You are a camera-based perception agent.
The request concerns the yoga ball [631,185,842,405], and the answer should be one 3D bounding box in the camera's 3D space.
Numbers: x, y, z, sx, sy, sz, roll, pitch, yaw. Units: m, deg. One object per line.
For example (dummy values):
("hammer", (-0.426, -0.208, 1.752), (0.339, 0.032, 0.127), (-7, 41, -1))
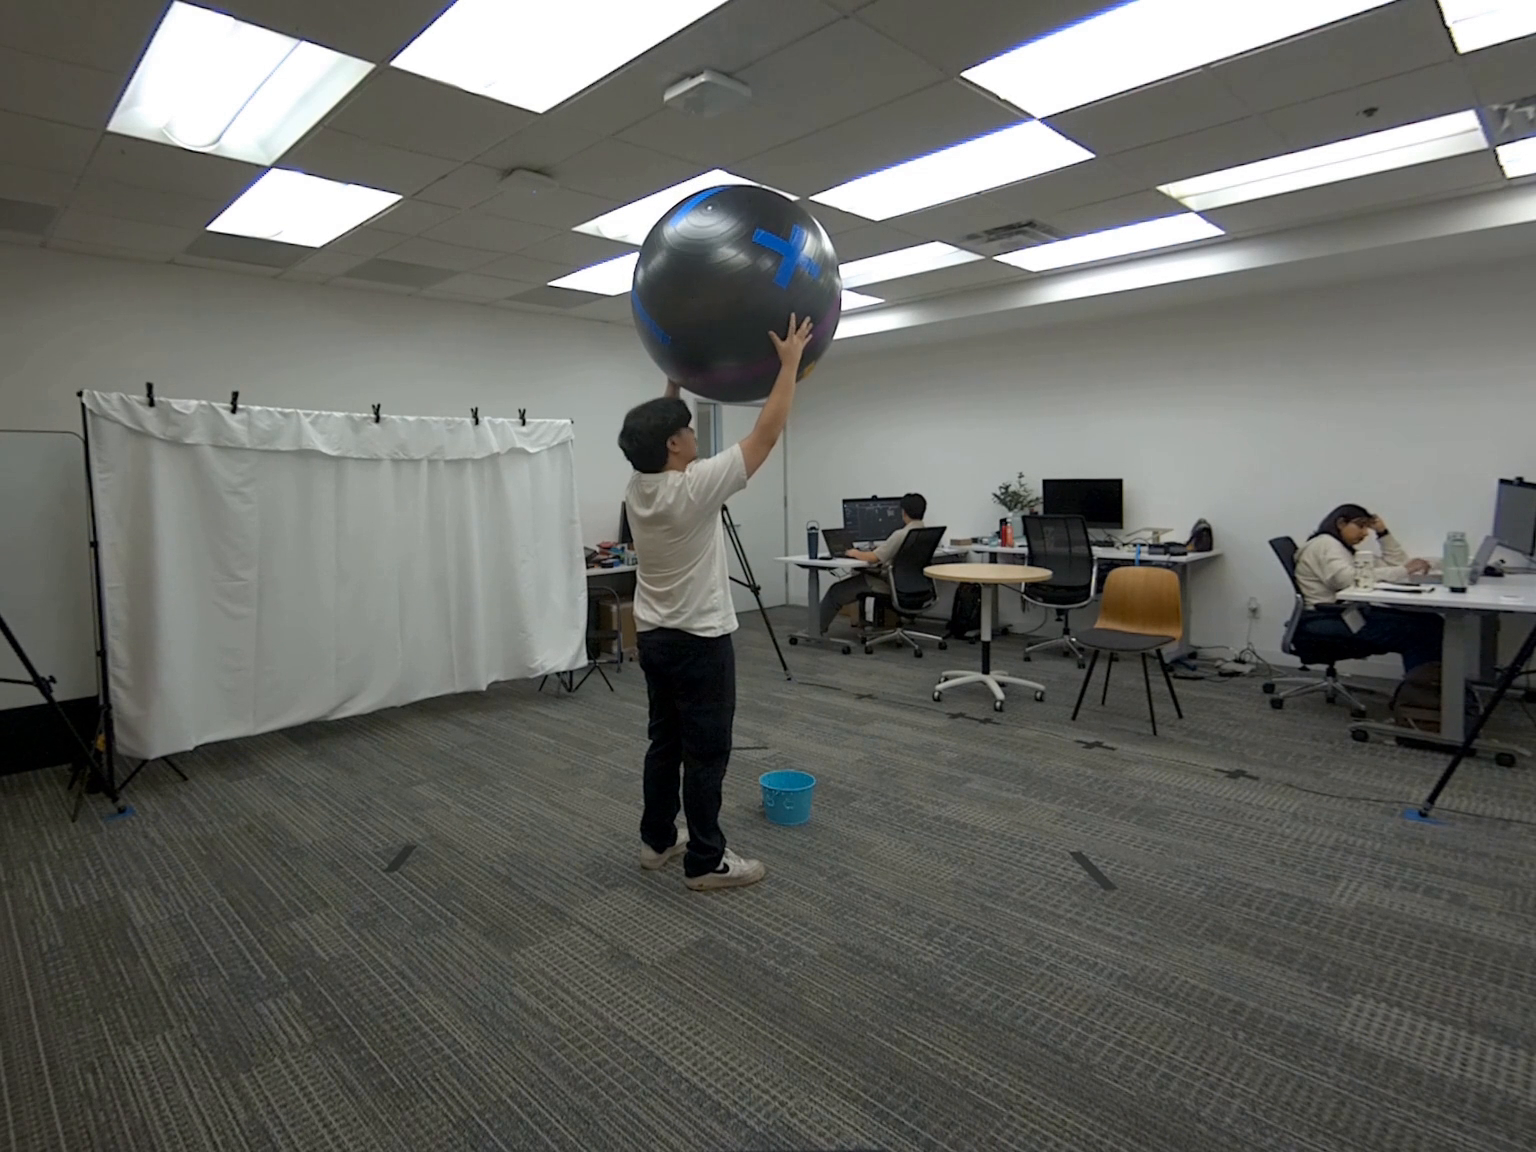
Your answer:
("yoga ball", (-0.111, -1.005, 3.082), (0.757, 0.755, 0.762), (-1, 5, -2))
